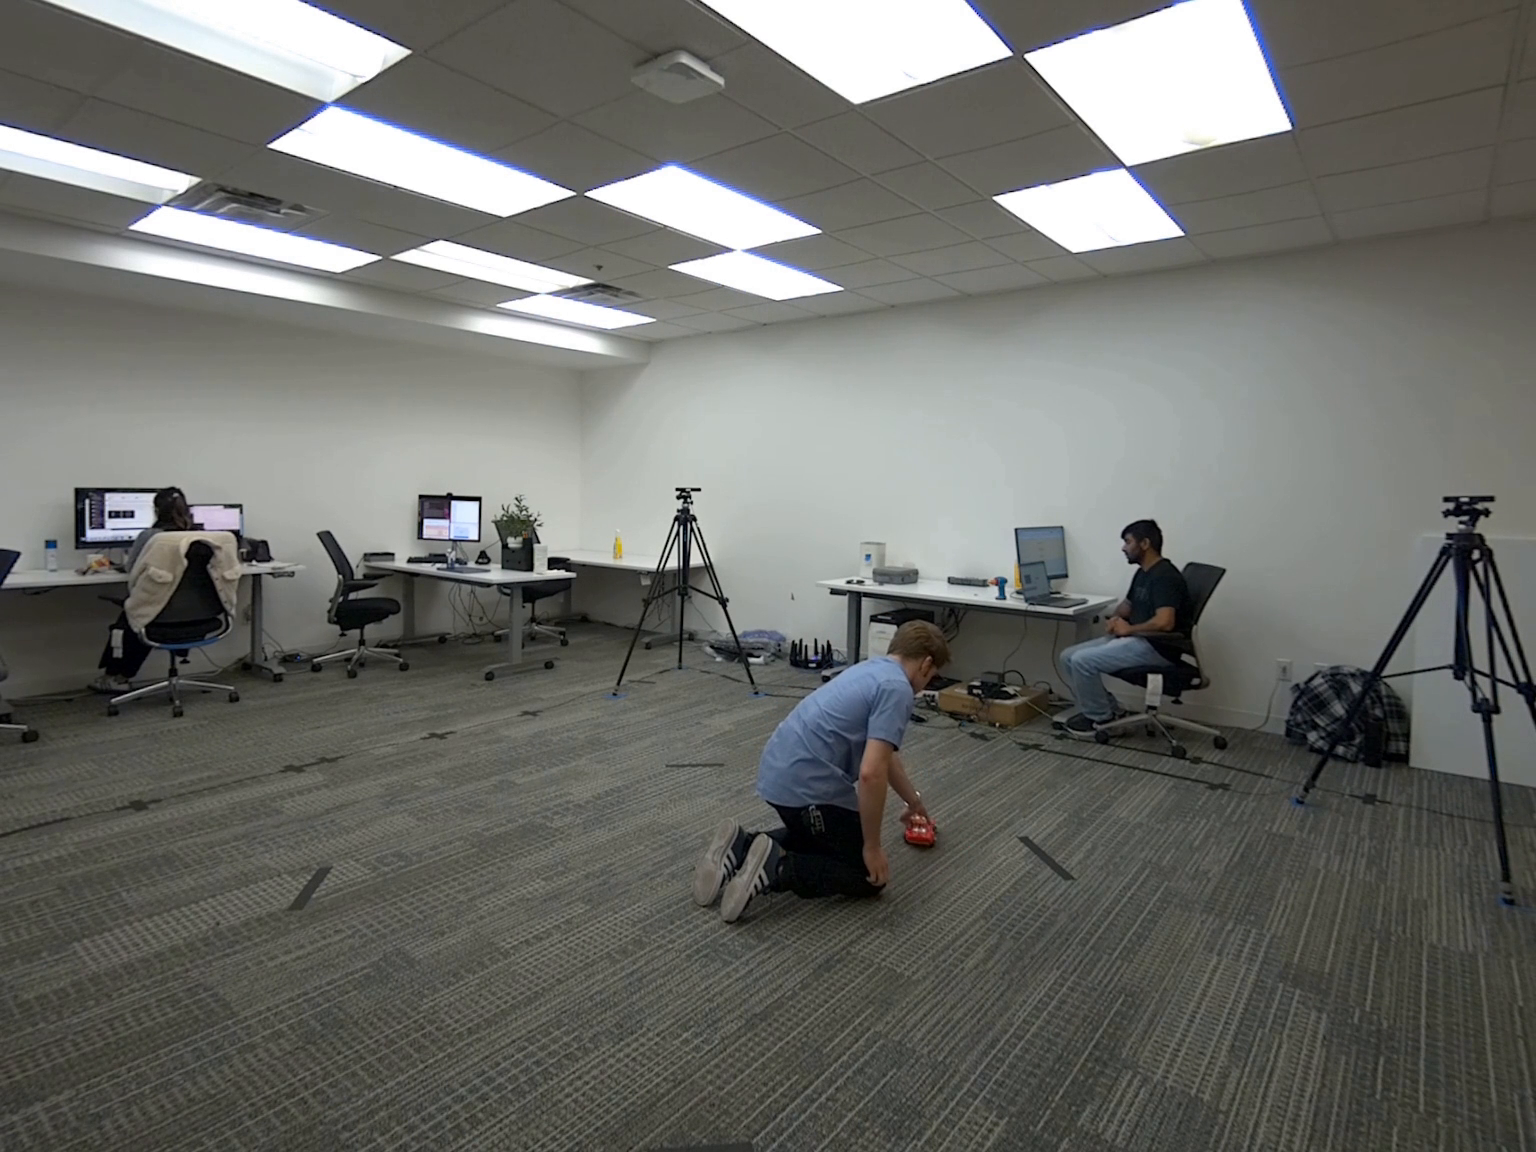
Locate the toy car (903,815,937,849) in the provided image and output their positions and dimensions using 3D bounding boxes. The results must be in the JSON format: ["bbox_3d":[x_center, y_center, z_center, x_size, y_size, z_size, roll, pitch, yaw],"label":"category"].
[{"bbox_3d":[0.612,1.022,3.423,0.132,0.084,0.249,3,-5,12],"label":"toy car"}]
